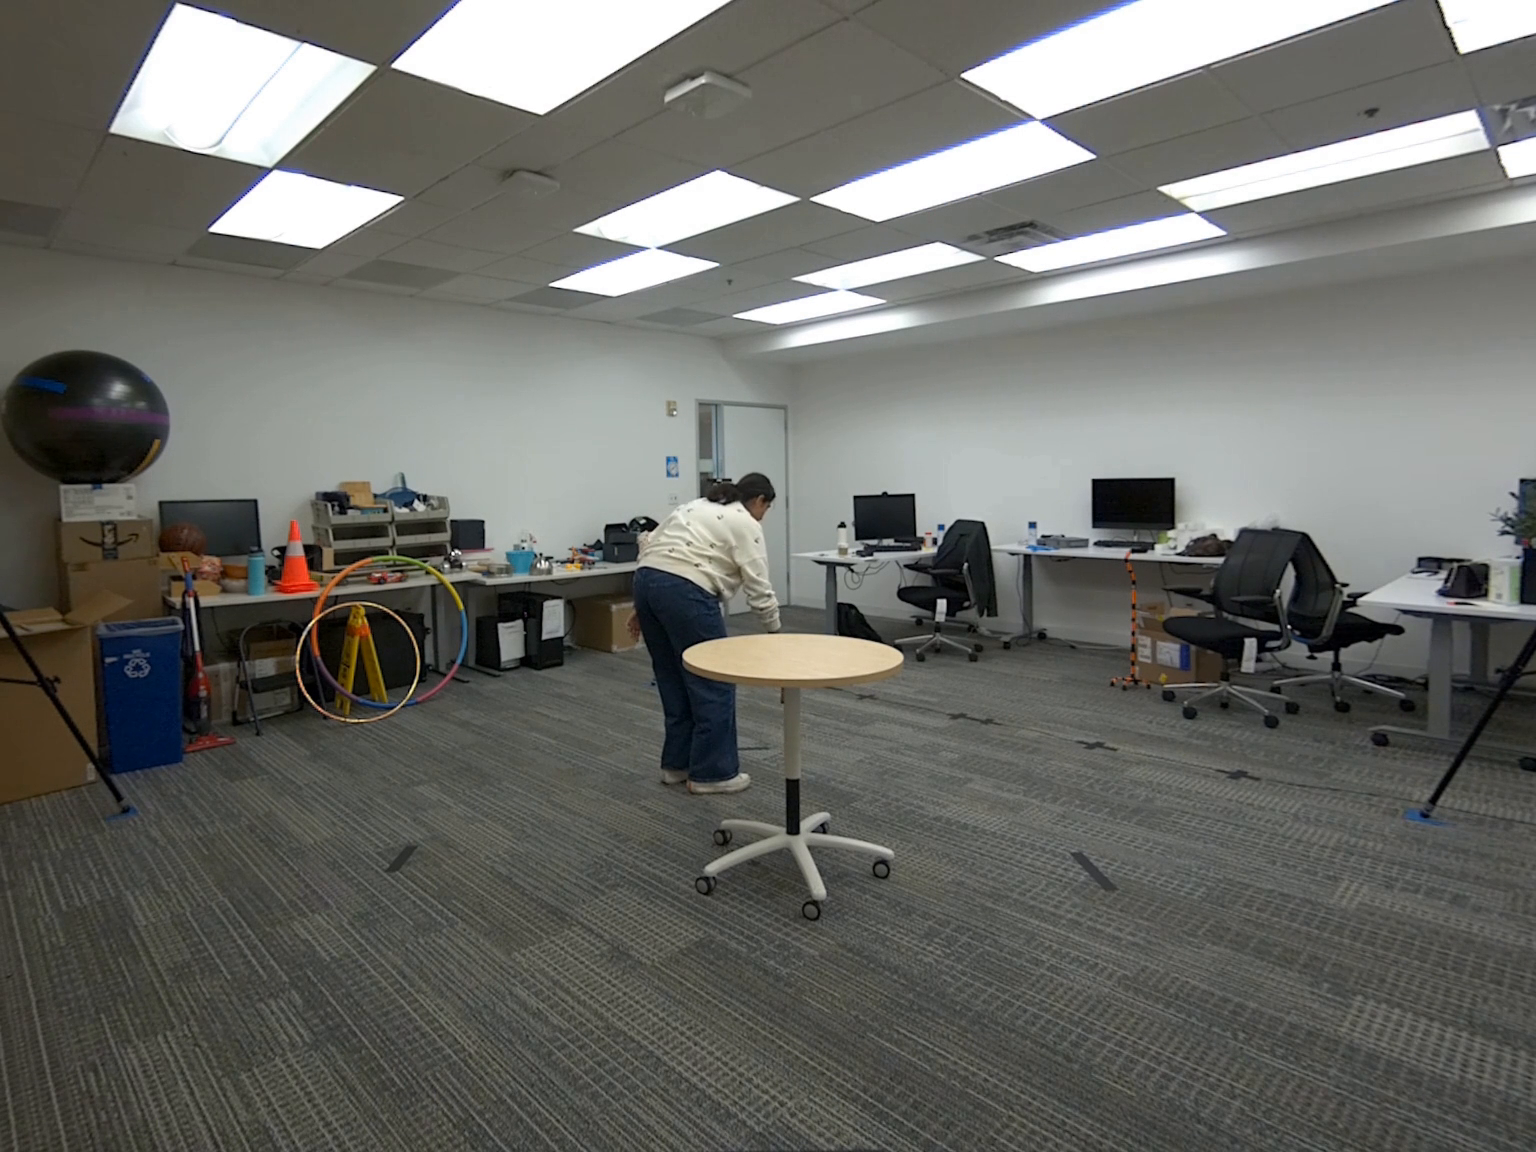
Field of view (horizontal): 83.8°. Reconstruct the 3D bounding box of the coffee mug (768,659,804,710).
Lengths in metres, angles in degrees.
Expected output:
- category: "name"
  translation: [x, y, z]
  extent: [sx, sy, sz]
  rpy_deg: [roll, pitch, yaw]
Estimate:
- category: "coffee mug"
  translation: [0.082, 0.506, 4.041]
  extent: [0.091, 0.202, 0.118]
  rpy_deg: [9, 6, 41]
